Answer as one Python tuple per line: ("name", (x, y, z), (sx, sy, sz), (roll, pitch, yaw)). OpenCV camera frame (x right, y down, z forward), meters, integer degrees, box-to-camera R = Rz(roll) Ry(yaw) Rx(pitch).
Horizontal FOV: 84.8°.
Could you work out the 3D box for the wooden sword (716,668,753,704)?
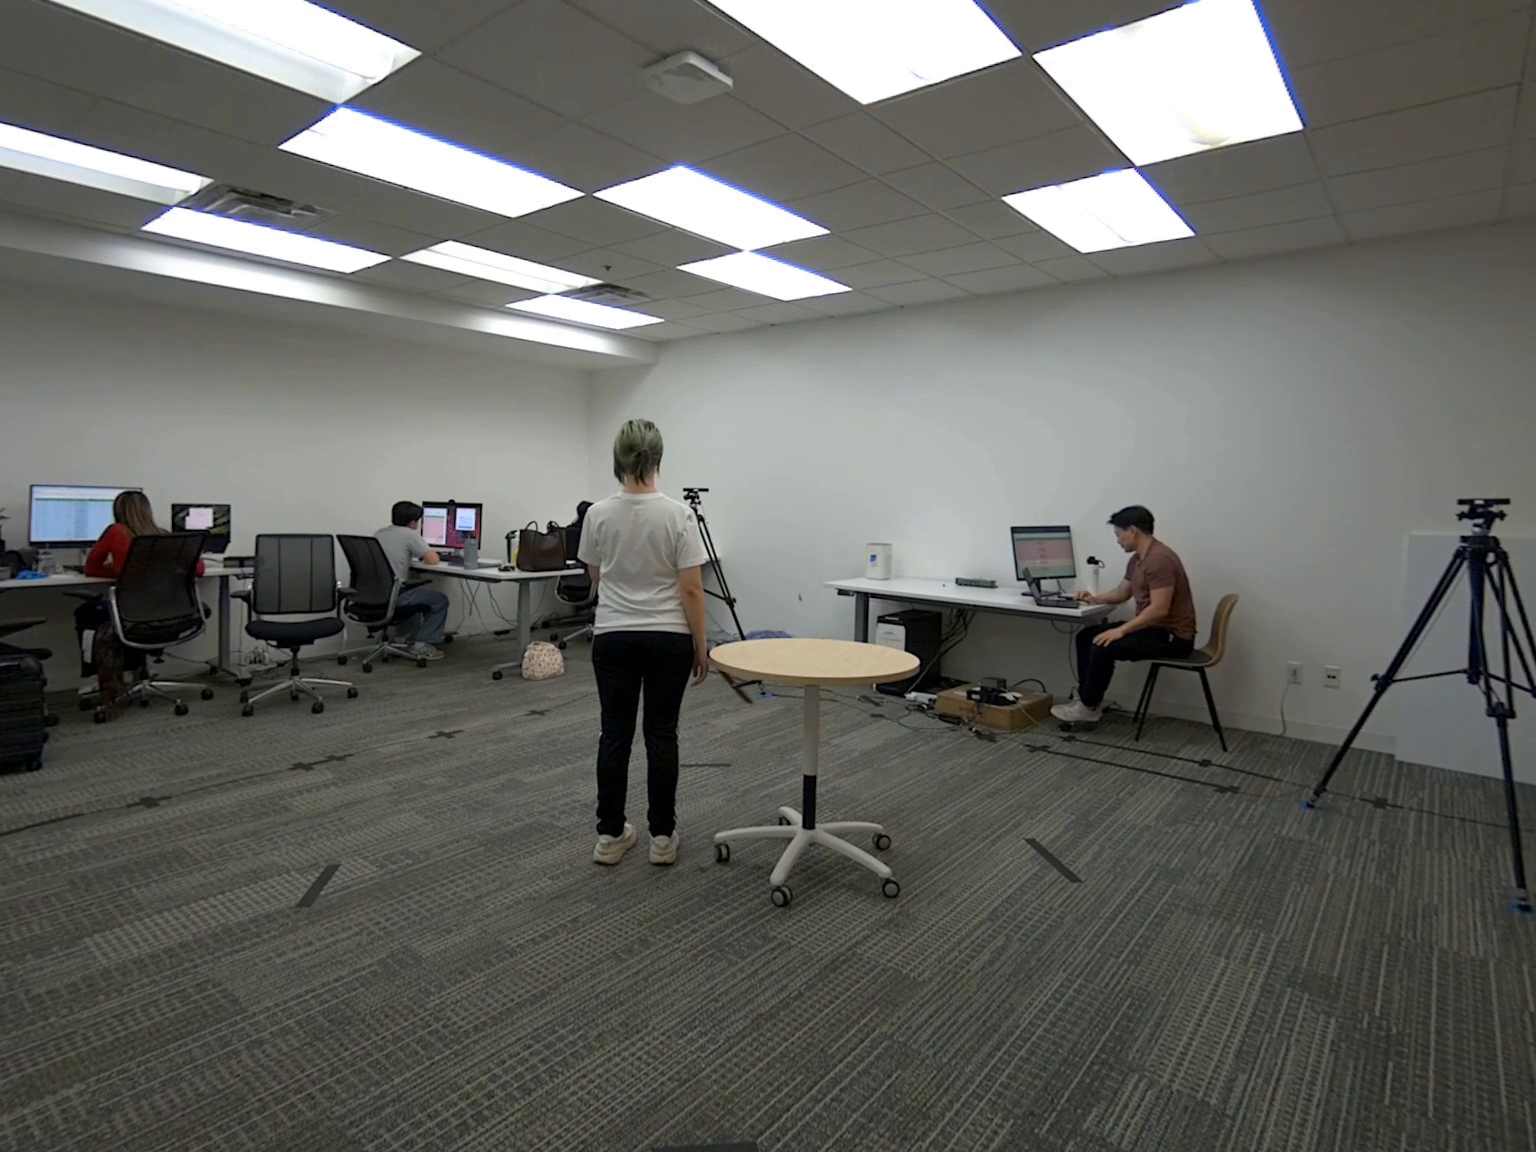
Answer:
("wooden sword", (-0.391, 0.158, 3.611), (0.052, 1.018, 0.024), (-31, 6, 39))
